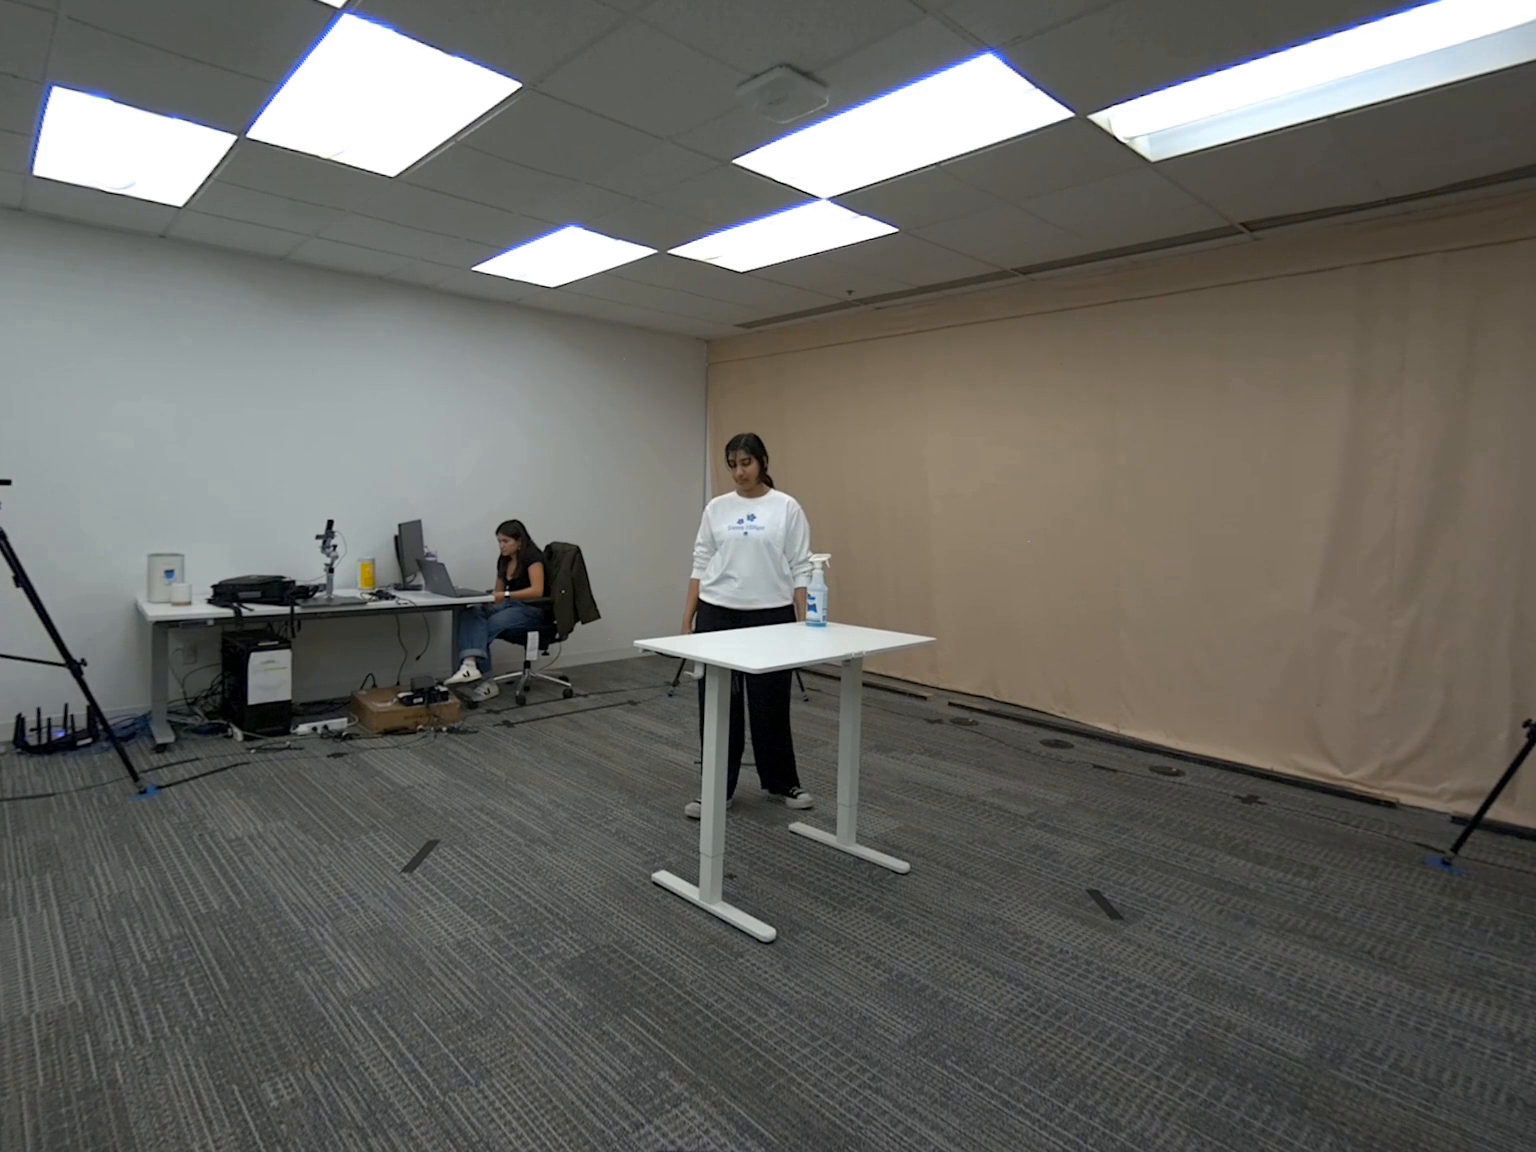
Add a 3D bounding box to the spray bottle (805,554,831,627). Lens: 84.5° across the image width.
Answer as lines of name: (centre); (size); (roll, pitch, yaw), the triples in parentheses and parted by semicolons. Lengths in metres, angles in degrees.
spray bottle: (0.196, 0.059, 3.464); (0.091, 0.297, 0.086); (3, 2, 14)
